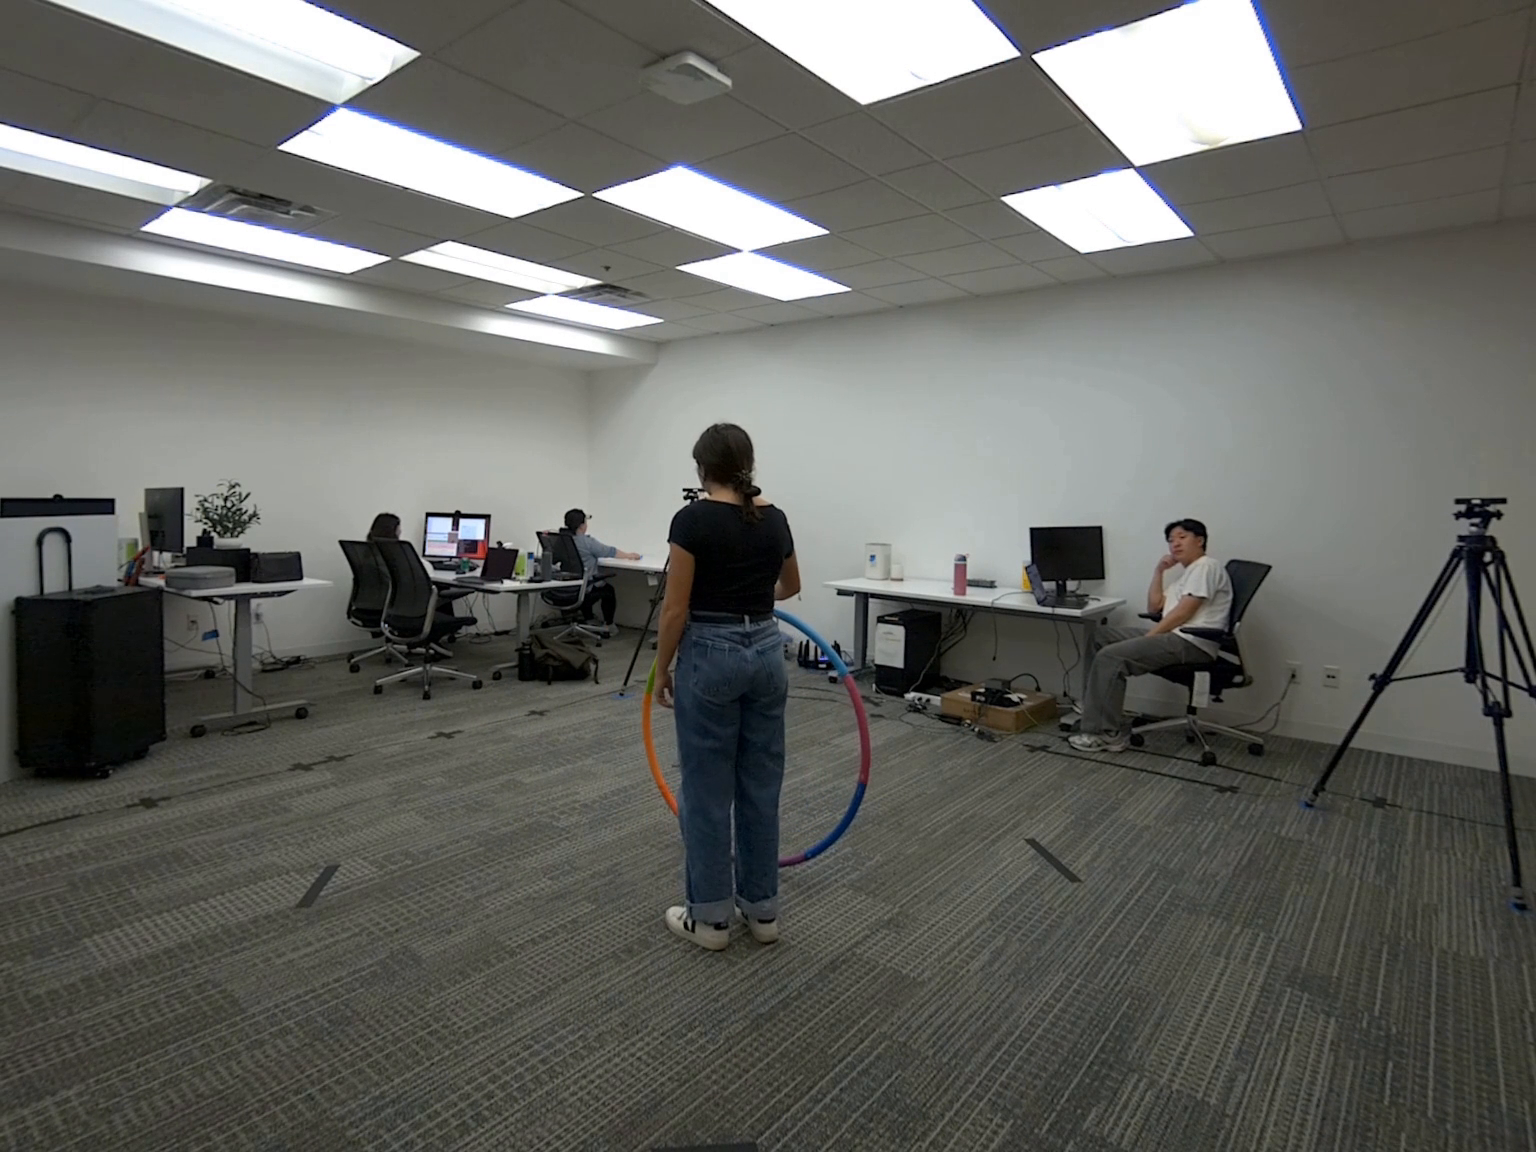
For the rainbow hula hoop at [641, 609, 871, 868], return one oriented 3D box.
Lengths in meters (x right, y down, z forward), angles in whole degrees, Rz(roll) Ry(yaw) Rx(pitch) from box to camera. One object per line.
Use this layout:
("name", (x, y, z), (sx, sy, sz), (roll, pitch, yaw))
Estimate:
("rainbow hula hoop", (-0.083, 0.579, 3.155), (1.009, 0.977, 0.034), (4, 2, 34))
